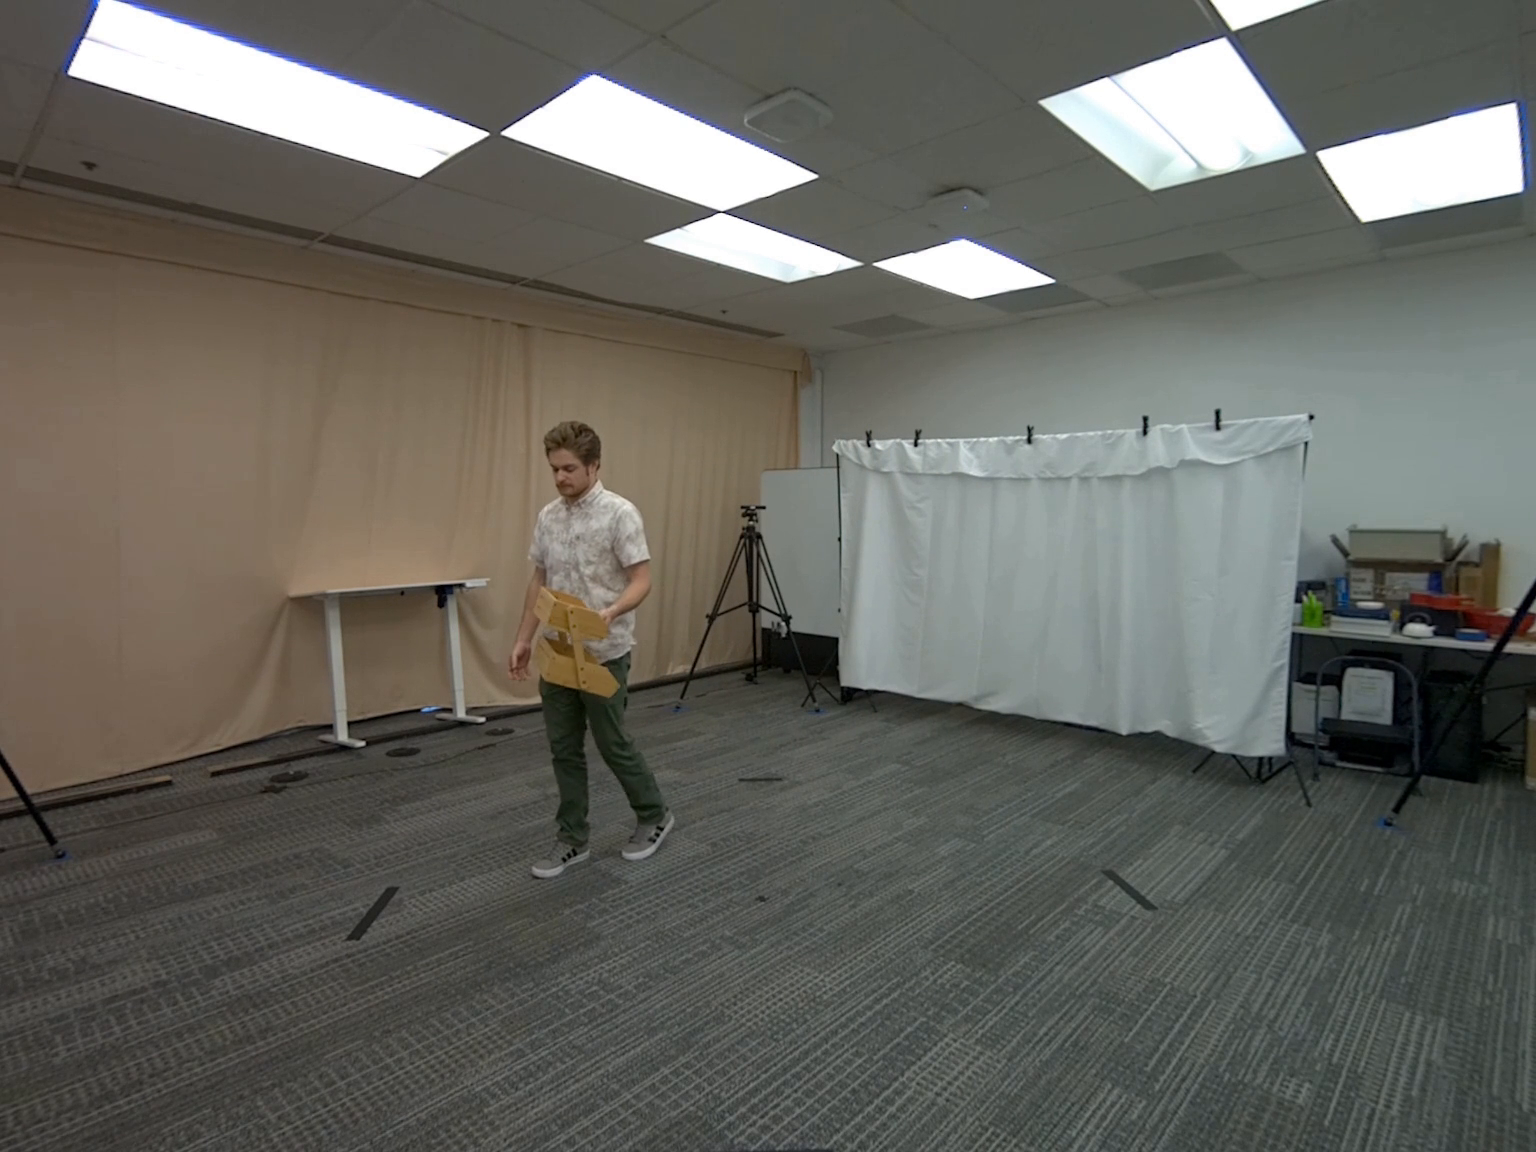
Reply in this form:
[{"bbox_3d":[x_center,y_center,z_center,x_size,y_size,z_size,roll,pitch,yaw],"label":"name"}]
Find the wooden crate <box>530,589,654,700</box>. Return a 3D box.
[{"bbox_3d":[-0.622,0.214,2.898,0.294,0.273,0.333,18,-1,-25],"label":"wooden crate"}]
